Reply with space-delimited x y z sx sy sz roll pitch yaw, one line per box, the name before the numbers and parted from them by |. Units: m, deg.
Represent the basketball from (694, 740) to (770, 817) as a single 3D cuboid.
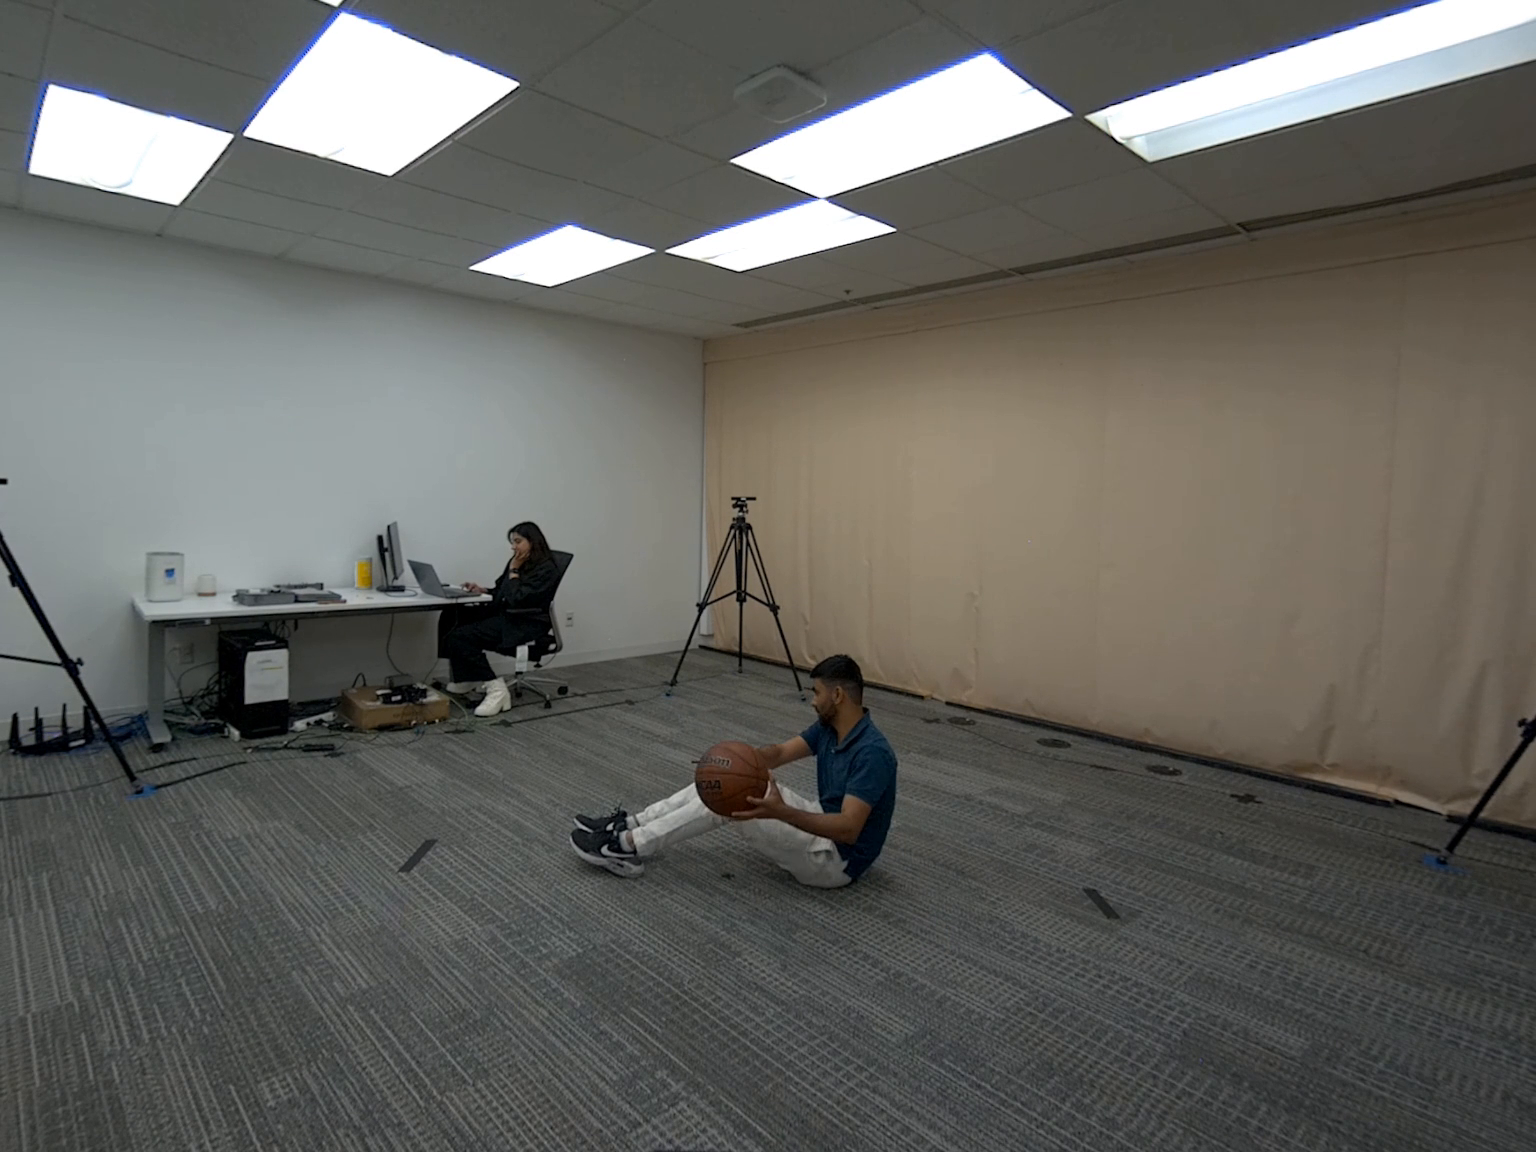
basketball | -0.130 0.655 2.726 0.236 0.235 0.237 1 4 -1
